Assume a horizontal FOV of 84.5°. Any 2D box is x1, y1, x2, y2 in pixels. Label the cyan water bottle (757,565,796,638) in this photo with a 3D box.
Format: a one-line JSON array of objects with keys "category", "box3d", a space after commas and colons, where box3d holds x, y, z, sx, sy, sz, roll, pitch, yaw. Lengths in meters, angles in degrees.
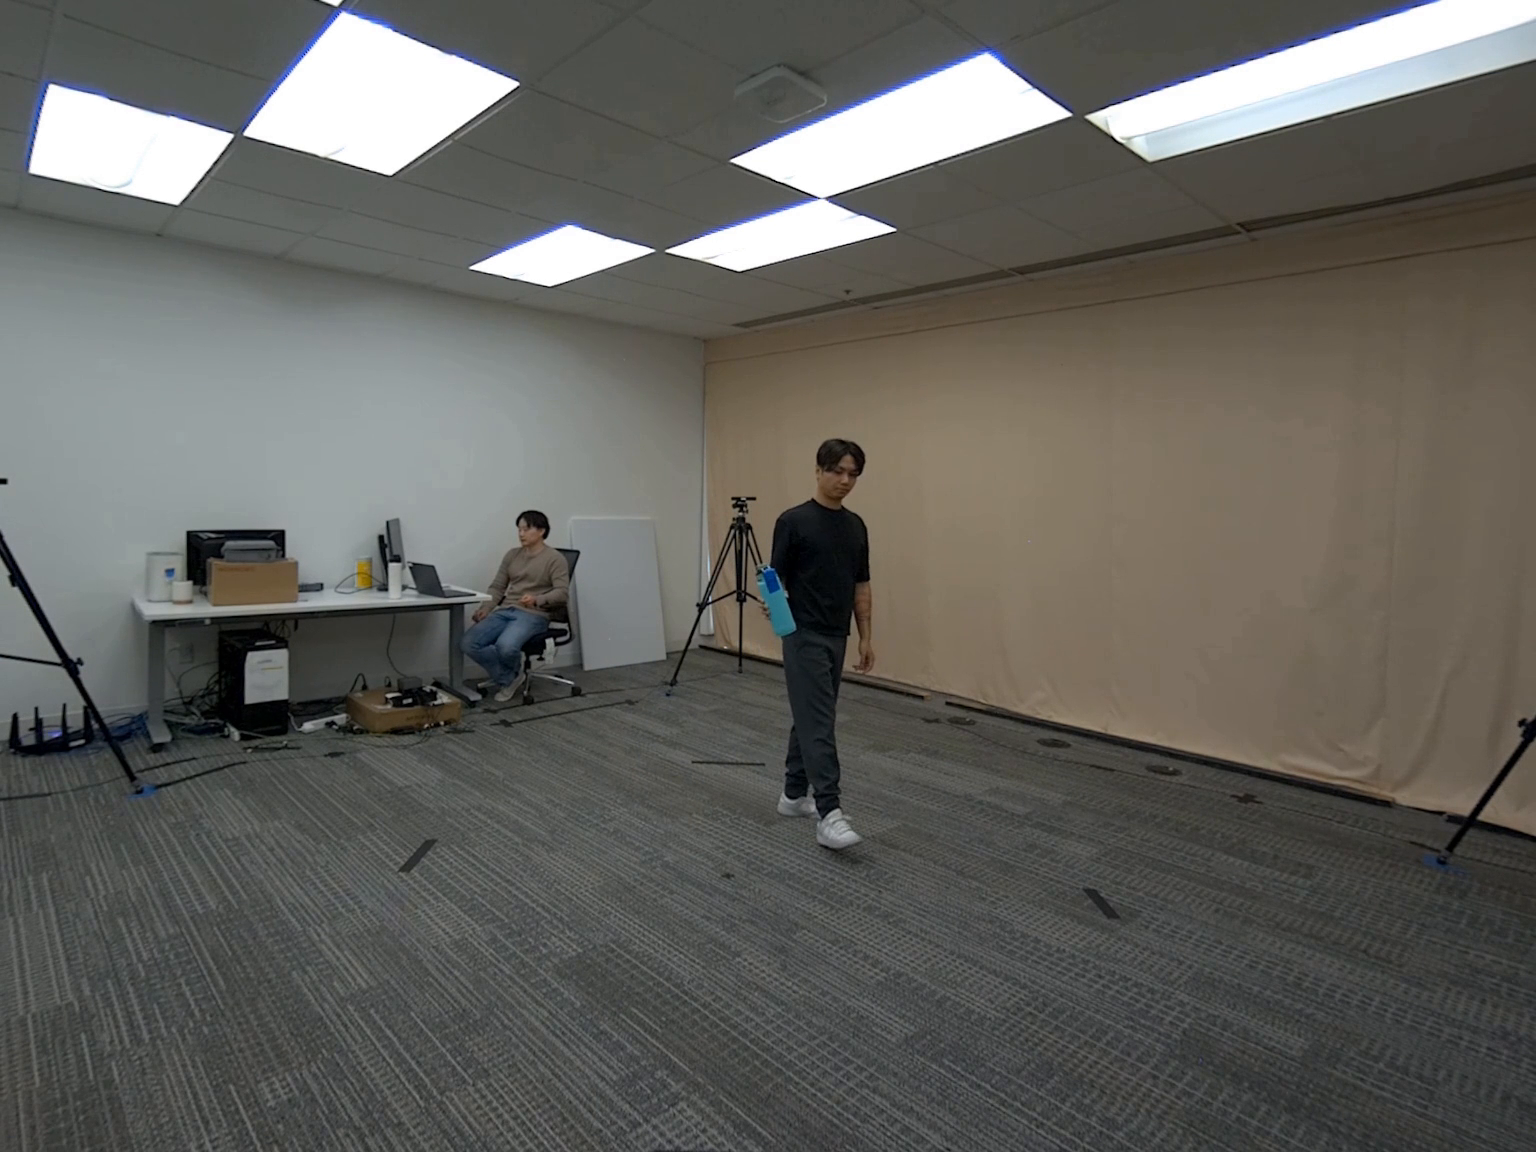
[{"category": "cyan water bottle", "box3d": [0.021, 0.089, 3.272, 0.092, 0.281, 0.093, -15, 8, 1]}]
